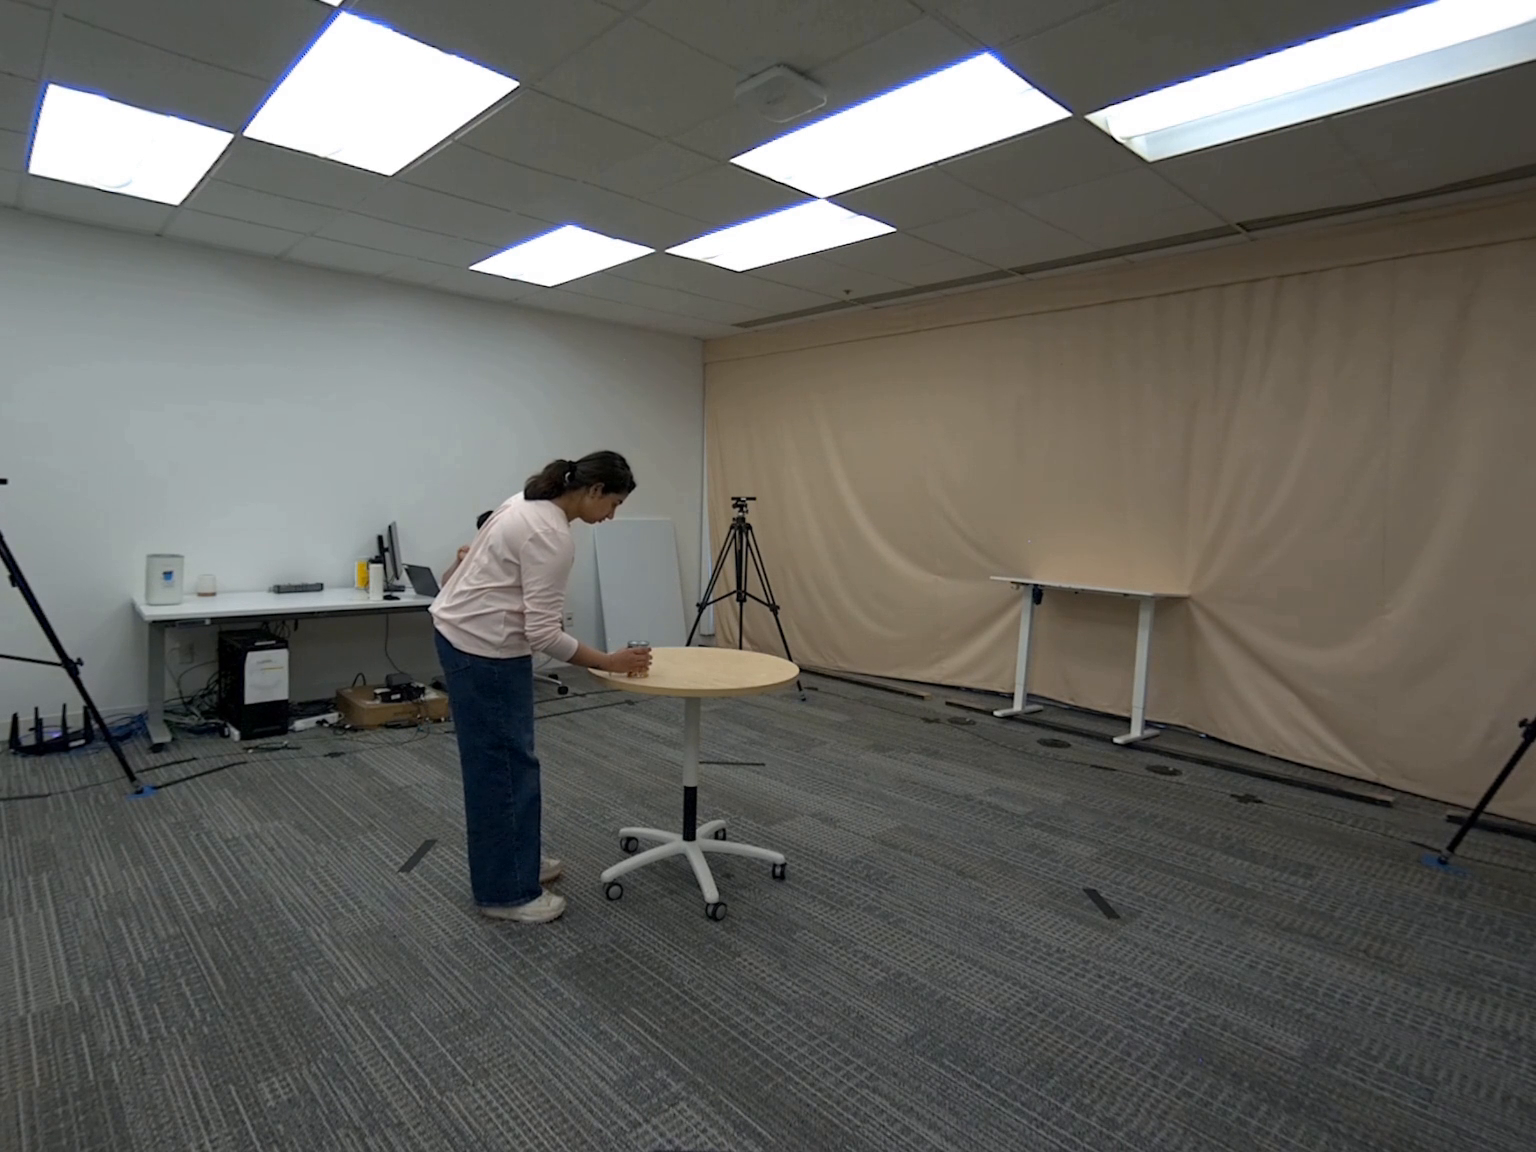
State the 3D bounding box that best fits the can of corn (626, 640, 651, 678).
[{"bbox_3d":[-0.449,0.284,2.836,0.074,0.111,0.074,0,3,-1],"label":"can of corn"}]
